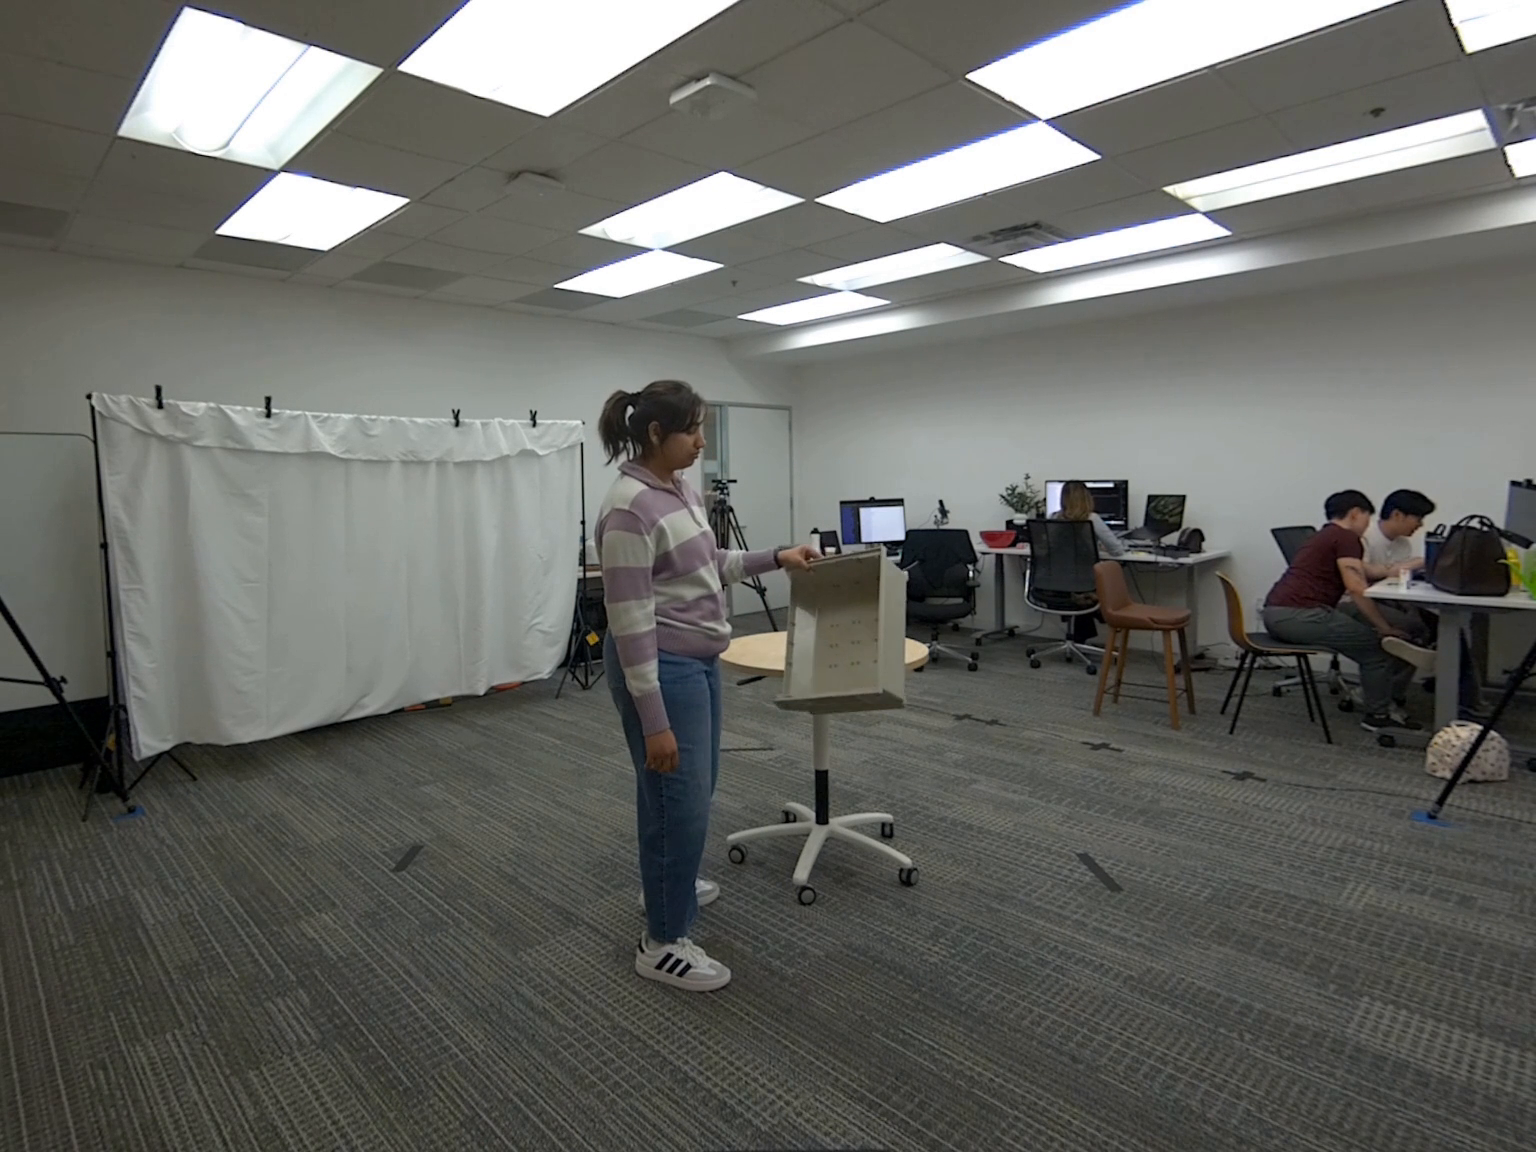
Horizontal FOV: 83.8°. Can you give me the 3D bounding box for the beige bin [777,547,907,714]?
[{"bbox_3d":[0.207,0.166,2.498,0.385,0.430,0.181,-12,-31,32],"label":"beige bin"}]
